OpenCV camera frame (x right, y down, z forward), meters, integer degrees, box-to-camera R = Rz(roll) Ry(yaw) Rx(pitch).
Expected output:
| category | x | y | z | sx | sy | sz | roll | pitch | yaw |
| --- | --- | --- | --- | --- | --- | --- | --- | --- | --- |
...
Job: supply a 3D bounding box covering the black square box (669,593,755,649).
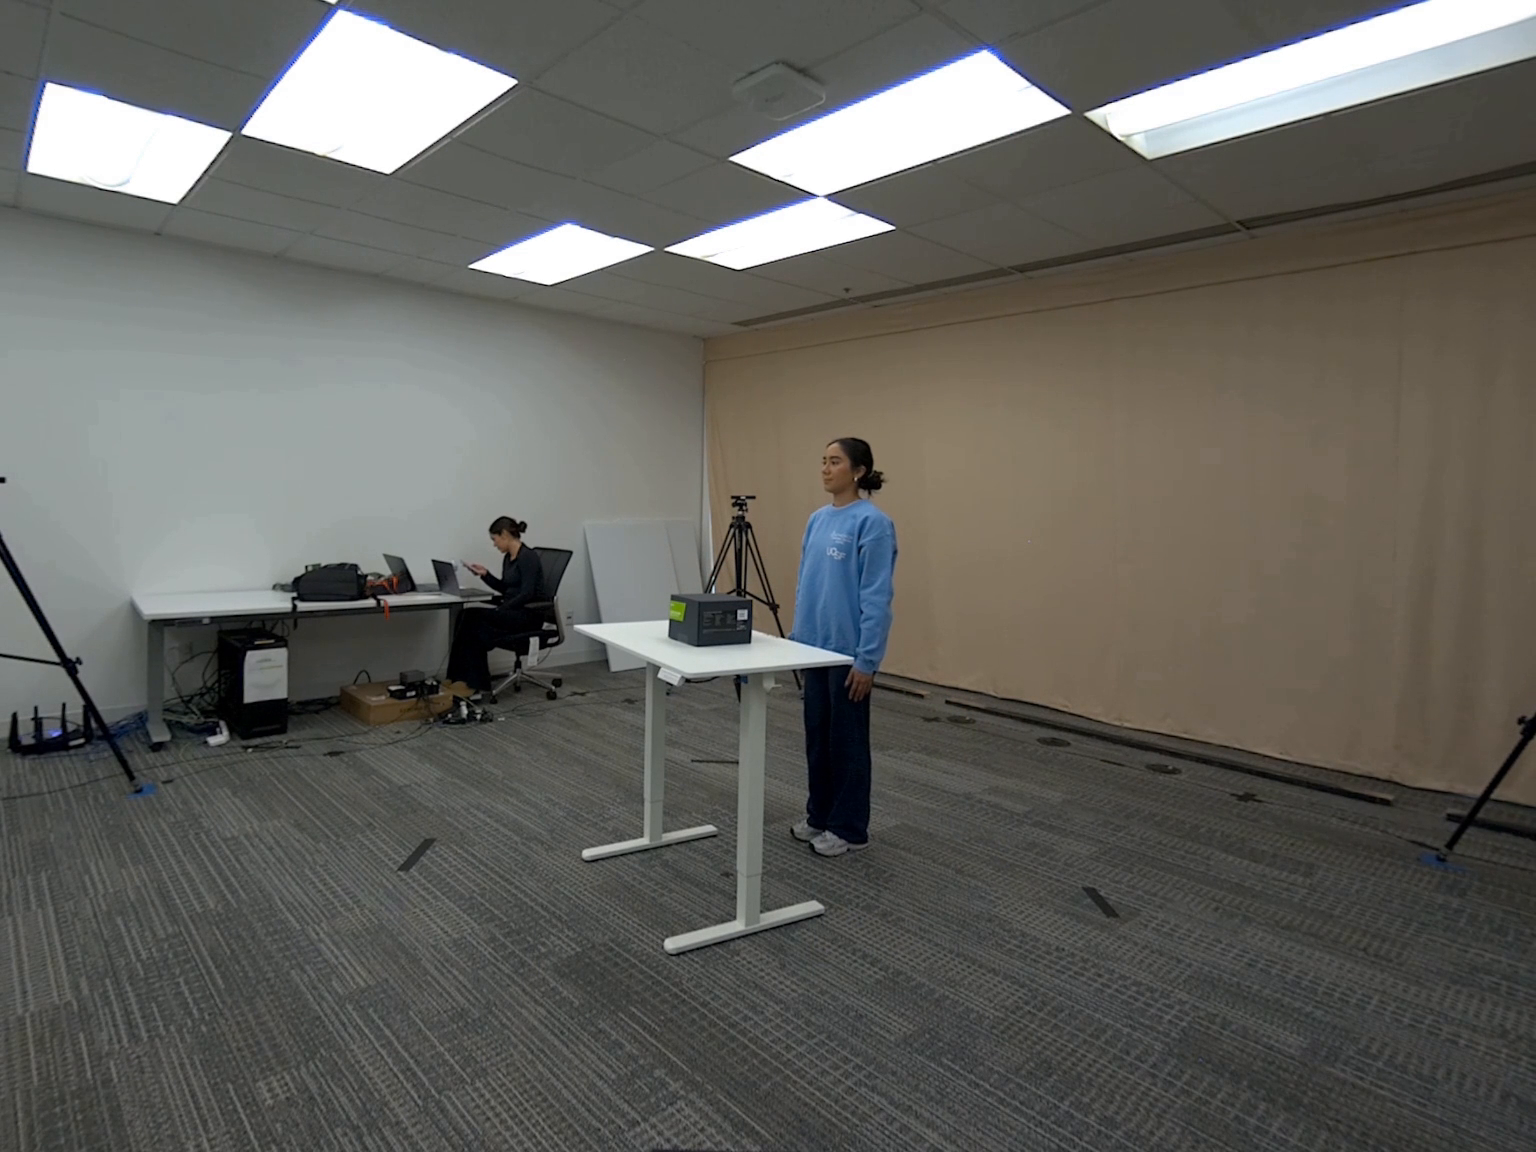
| category | x | y | z | sx | sy | sz | roll | pitch | yaw |
| --- | --- | --- | --- | --- | --- | --- | --- | --- | --- |
| black square box | -0.201 | 0.152 | 2.984 | 0.212 | 0.155 | 0.233 | -1 | 5 | -31 |
